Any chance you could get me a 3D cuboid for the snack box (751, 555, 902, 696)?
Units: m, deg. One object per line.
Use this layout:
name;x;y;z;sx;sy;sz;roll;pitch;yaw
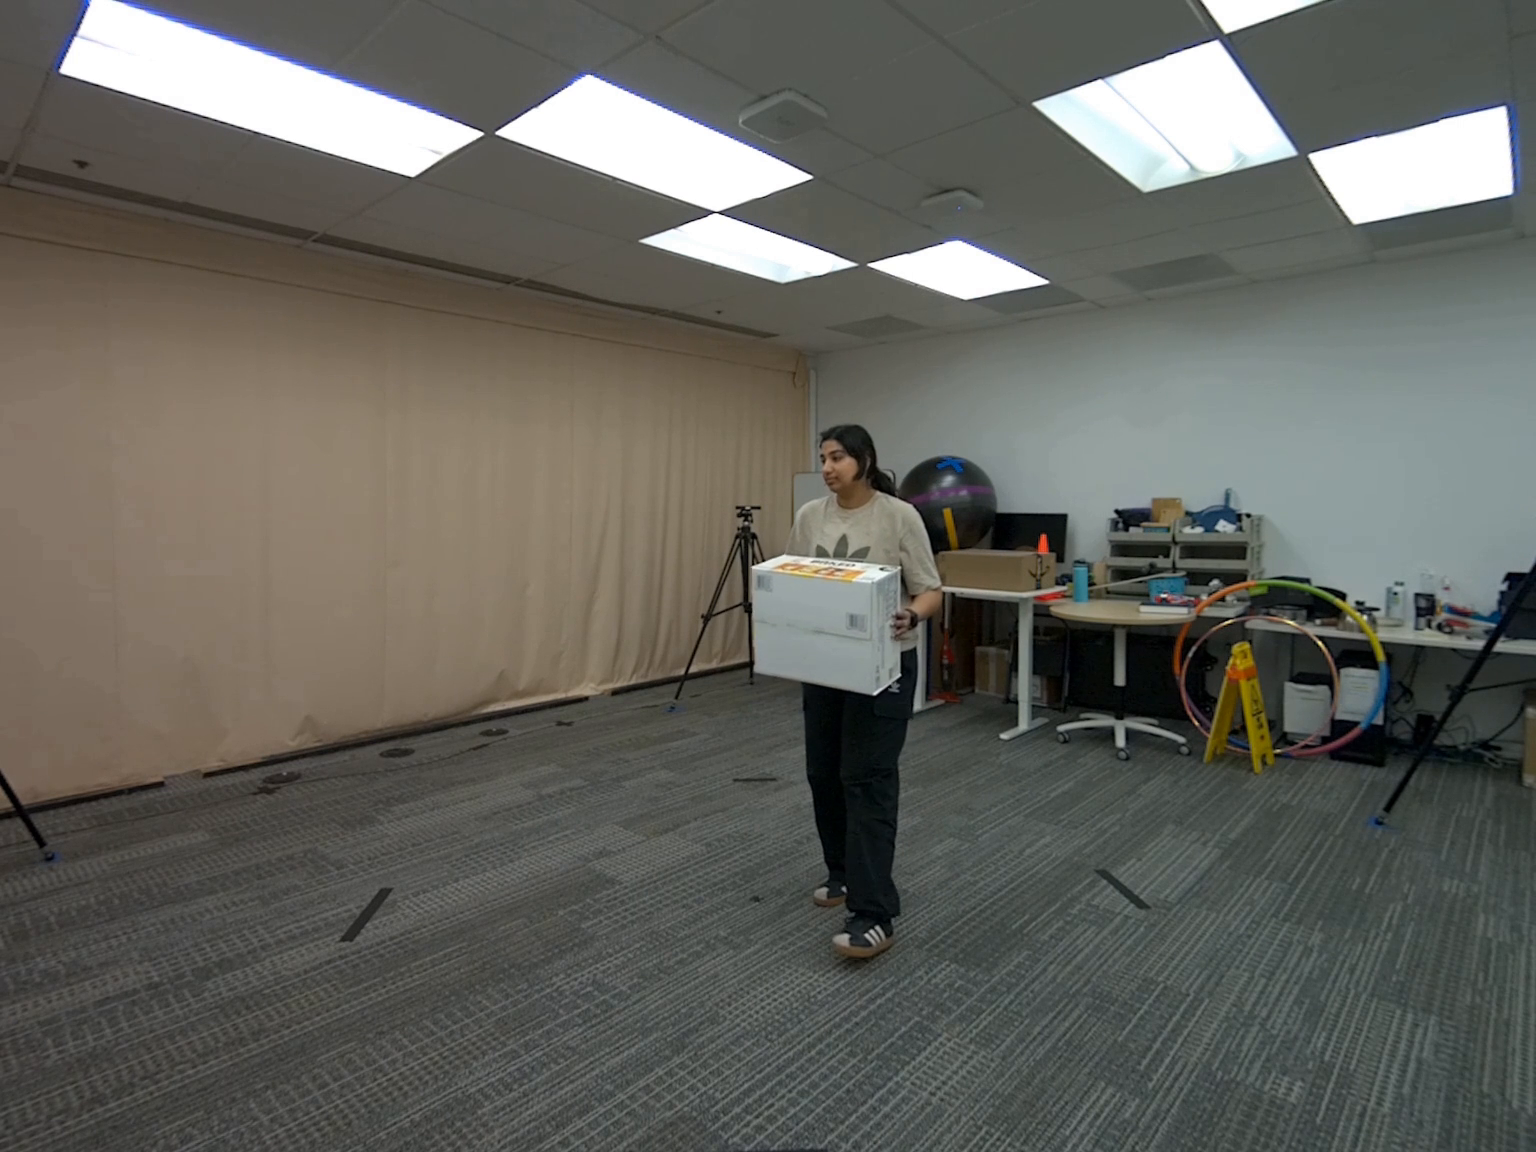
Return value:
snack box;0.174;0.137;2.560;0.418;0.338;0.201;6;14;34
